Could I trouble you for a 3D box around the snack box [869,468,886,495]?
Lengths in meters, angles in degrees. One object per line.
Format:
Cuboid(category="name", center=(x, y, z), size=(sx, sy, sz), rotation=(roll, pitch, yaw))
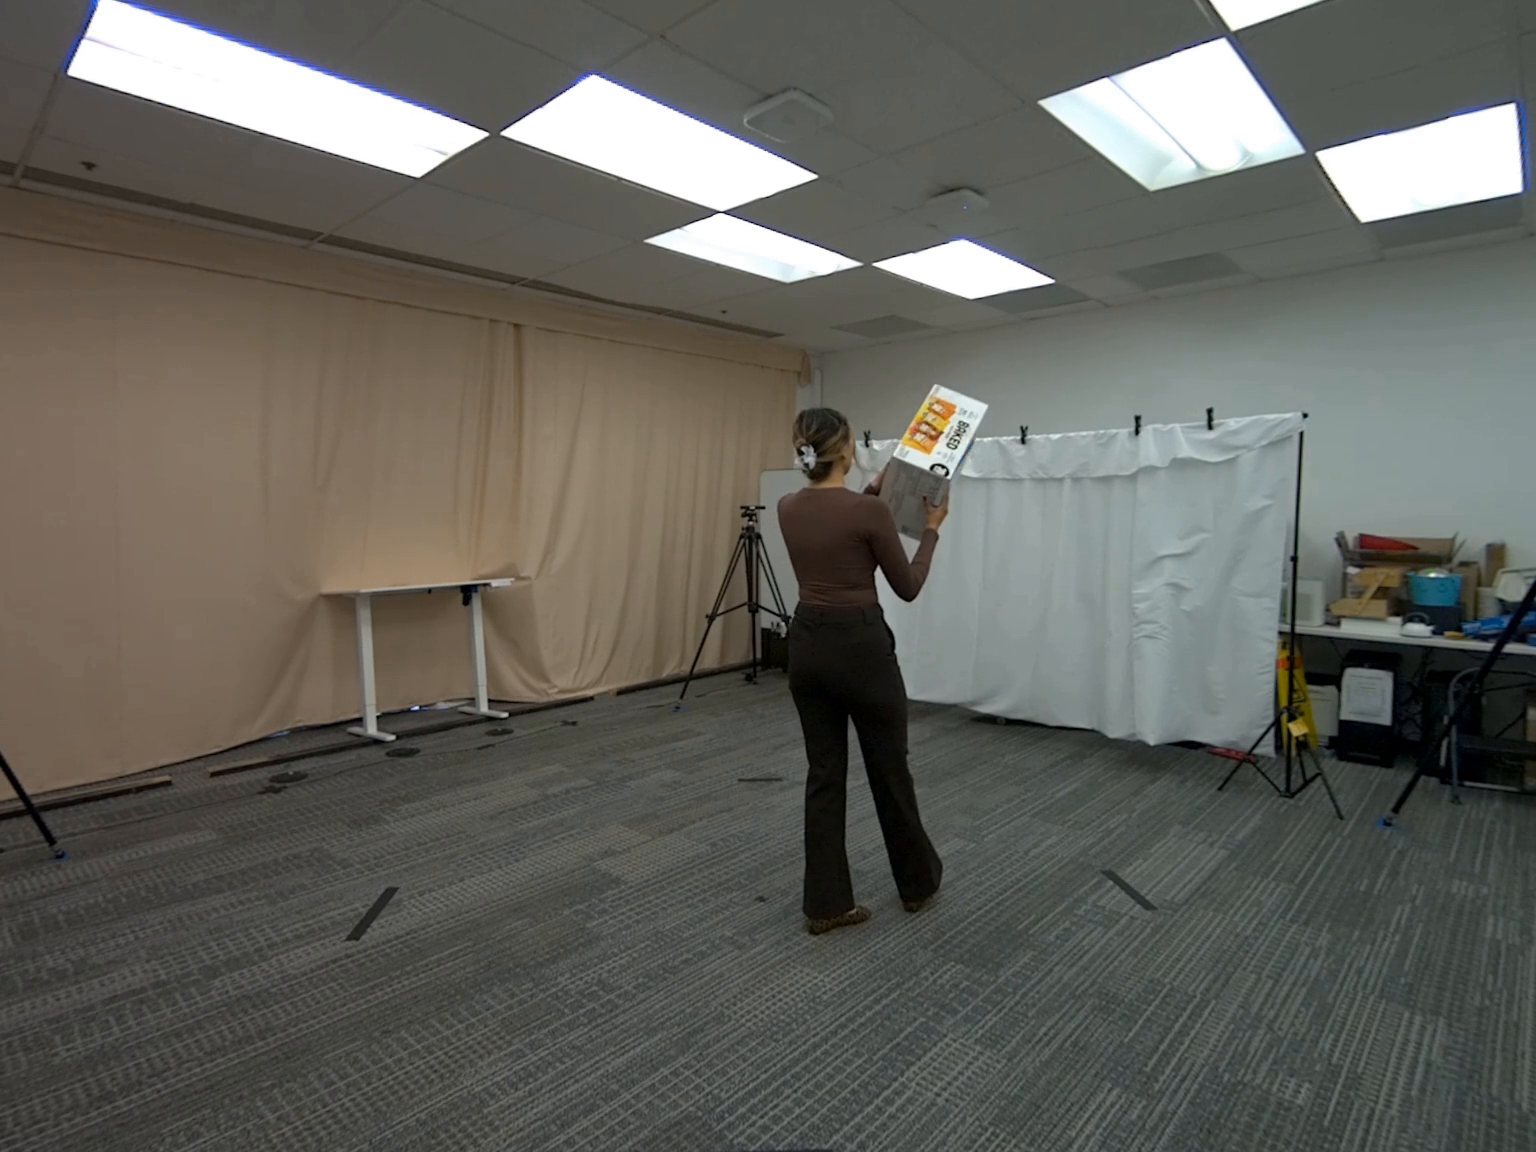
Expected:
Cuboid(category="snack box", center=(0.585, -0.394, 2.963), size=(0.209, 0.404, 0.335), rotation=(24, -35, 11))
